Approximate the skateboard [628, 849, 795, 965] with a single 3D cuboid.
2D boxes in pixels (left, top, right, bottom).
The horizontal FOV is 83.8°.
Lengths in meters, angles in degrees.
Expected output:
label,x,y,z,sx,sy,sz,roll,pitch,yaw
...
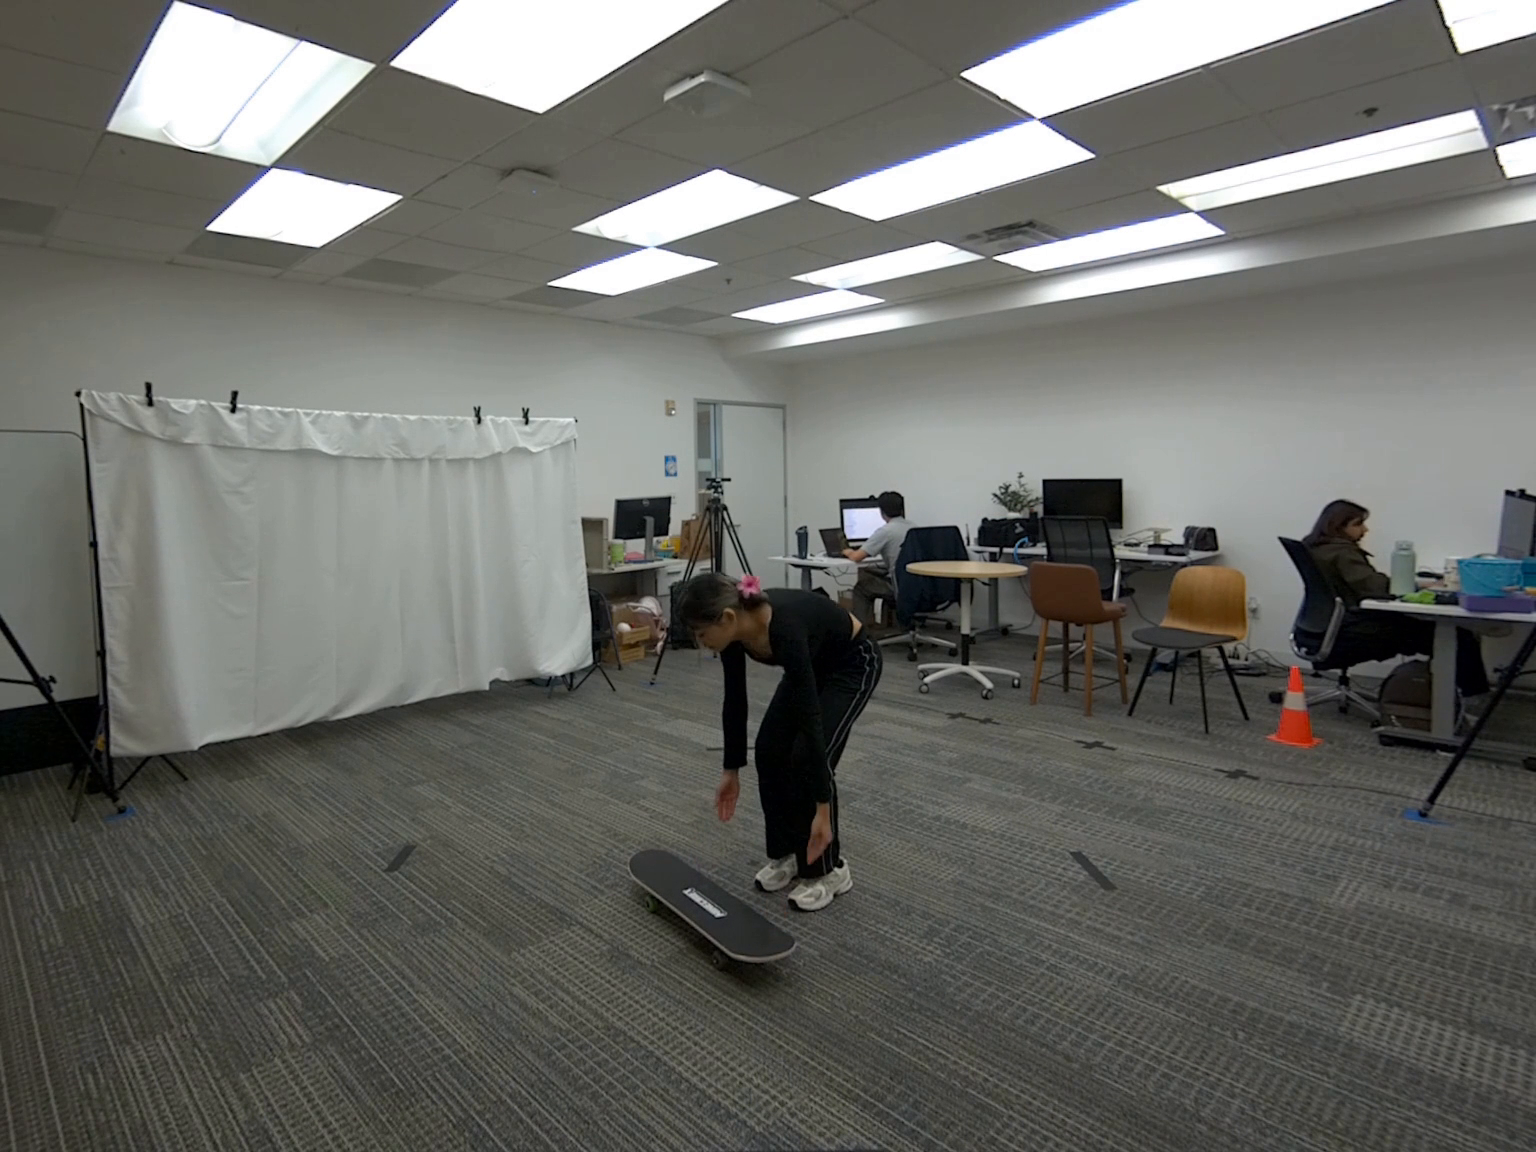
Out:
label,x,y,z,sx,sy,sz,roll,pitch,yaw
skateboard,-0.190,1.045,2.640,0.189,0.110,0.809,-7,9,-35
